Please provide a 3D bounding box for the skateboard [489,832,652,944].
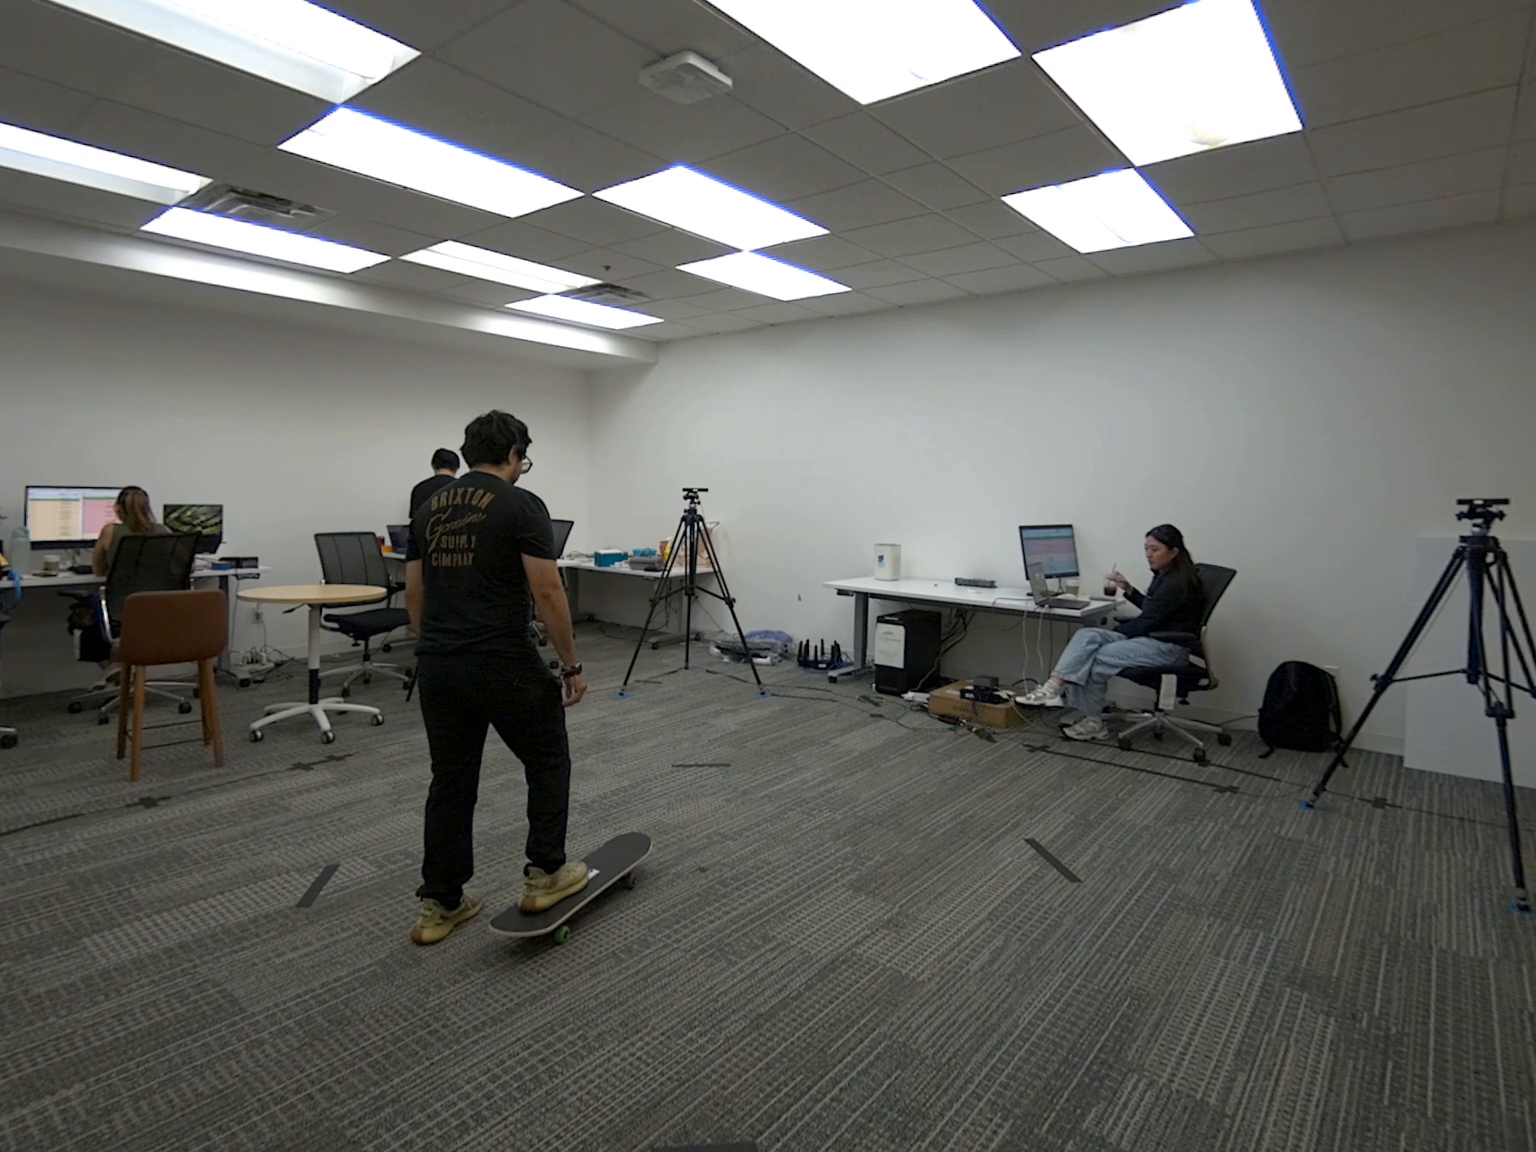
[{"bbox_3d":[-0.633,1.039,2.808,0.198,0.110,0.769,1,5,23],"label":"skateboard"}]
